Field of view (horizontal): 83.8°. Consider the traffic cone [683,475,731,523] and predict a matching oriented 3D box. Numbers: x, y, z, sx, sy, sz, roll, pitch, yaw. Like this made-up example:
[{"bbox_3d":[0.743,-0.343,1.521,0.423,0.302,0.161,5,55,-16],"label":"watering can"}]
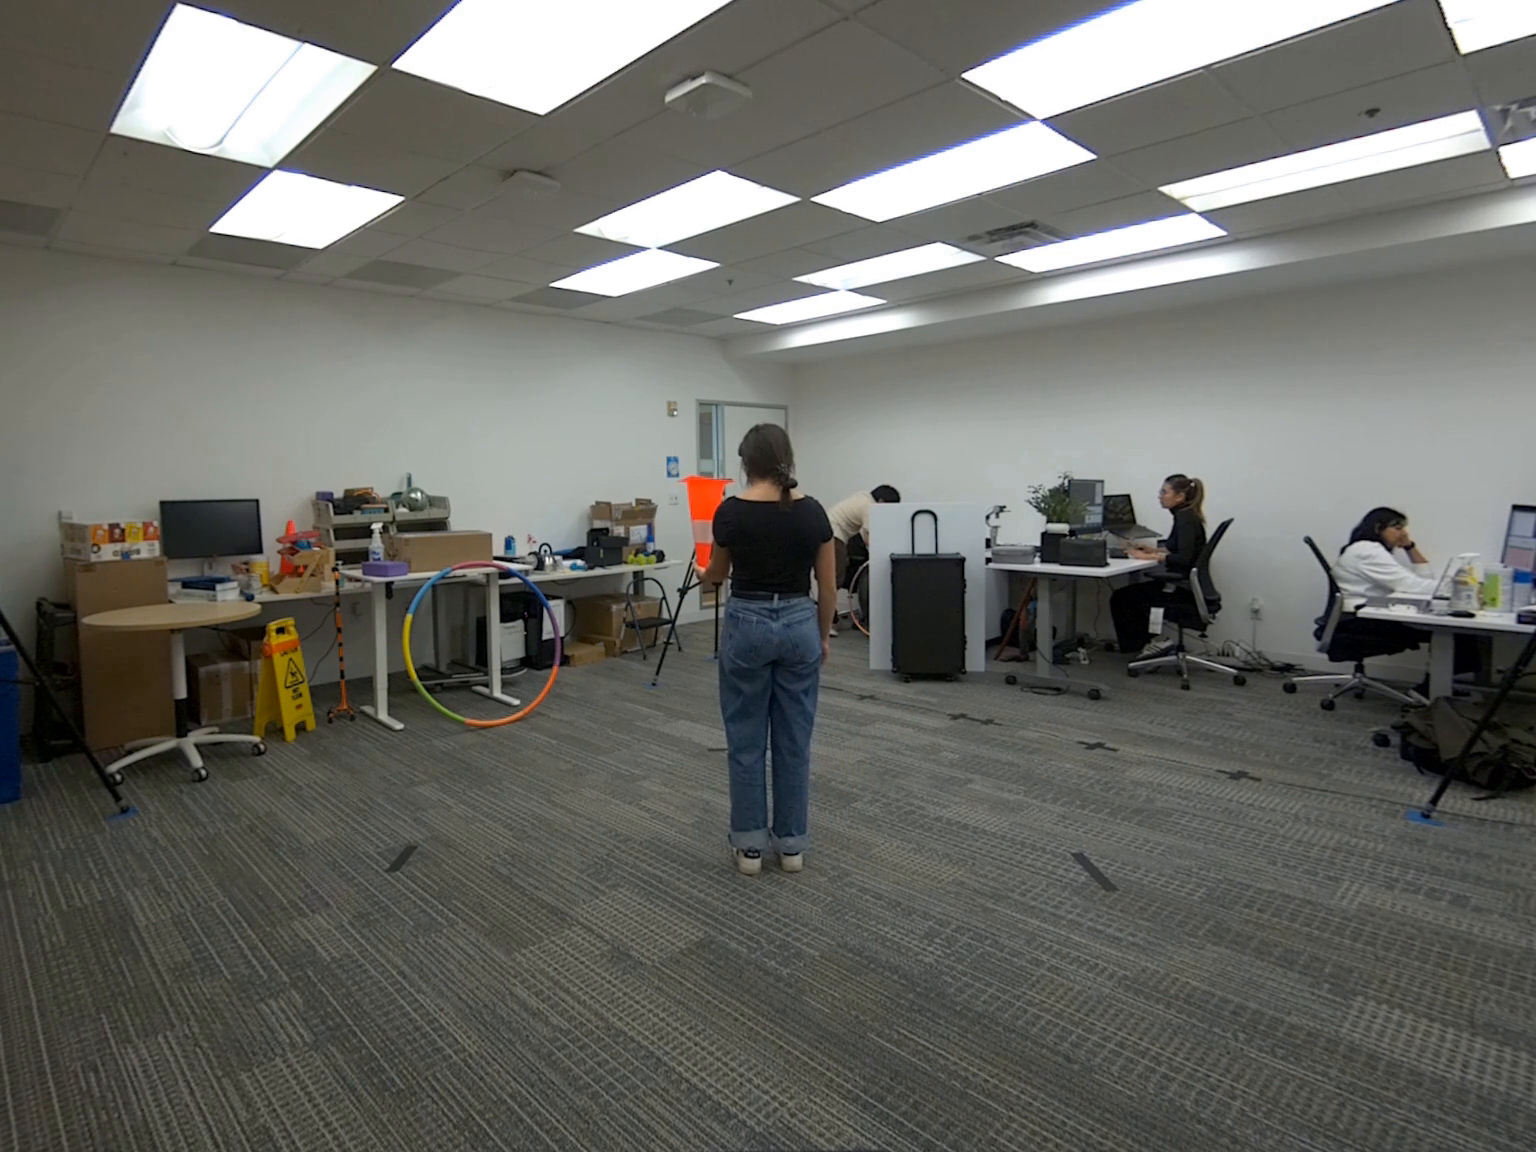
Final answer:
[{"bbox_3d":[-0.261,-0.200,3.515,0.201,0.385,0.206,2,-4,-20],"label":"traffic cone"}]
